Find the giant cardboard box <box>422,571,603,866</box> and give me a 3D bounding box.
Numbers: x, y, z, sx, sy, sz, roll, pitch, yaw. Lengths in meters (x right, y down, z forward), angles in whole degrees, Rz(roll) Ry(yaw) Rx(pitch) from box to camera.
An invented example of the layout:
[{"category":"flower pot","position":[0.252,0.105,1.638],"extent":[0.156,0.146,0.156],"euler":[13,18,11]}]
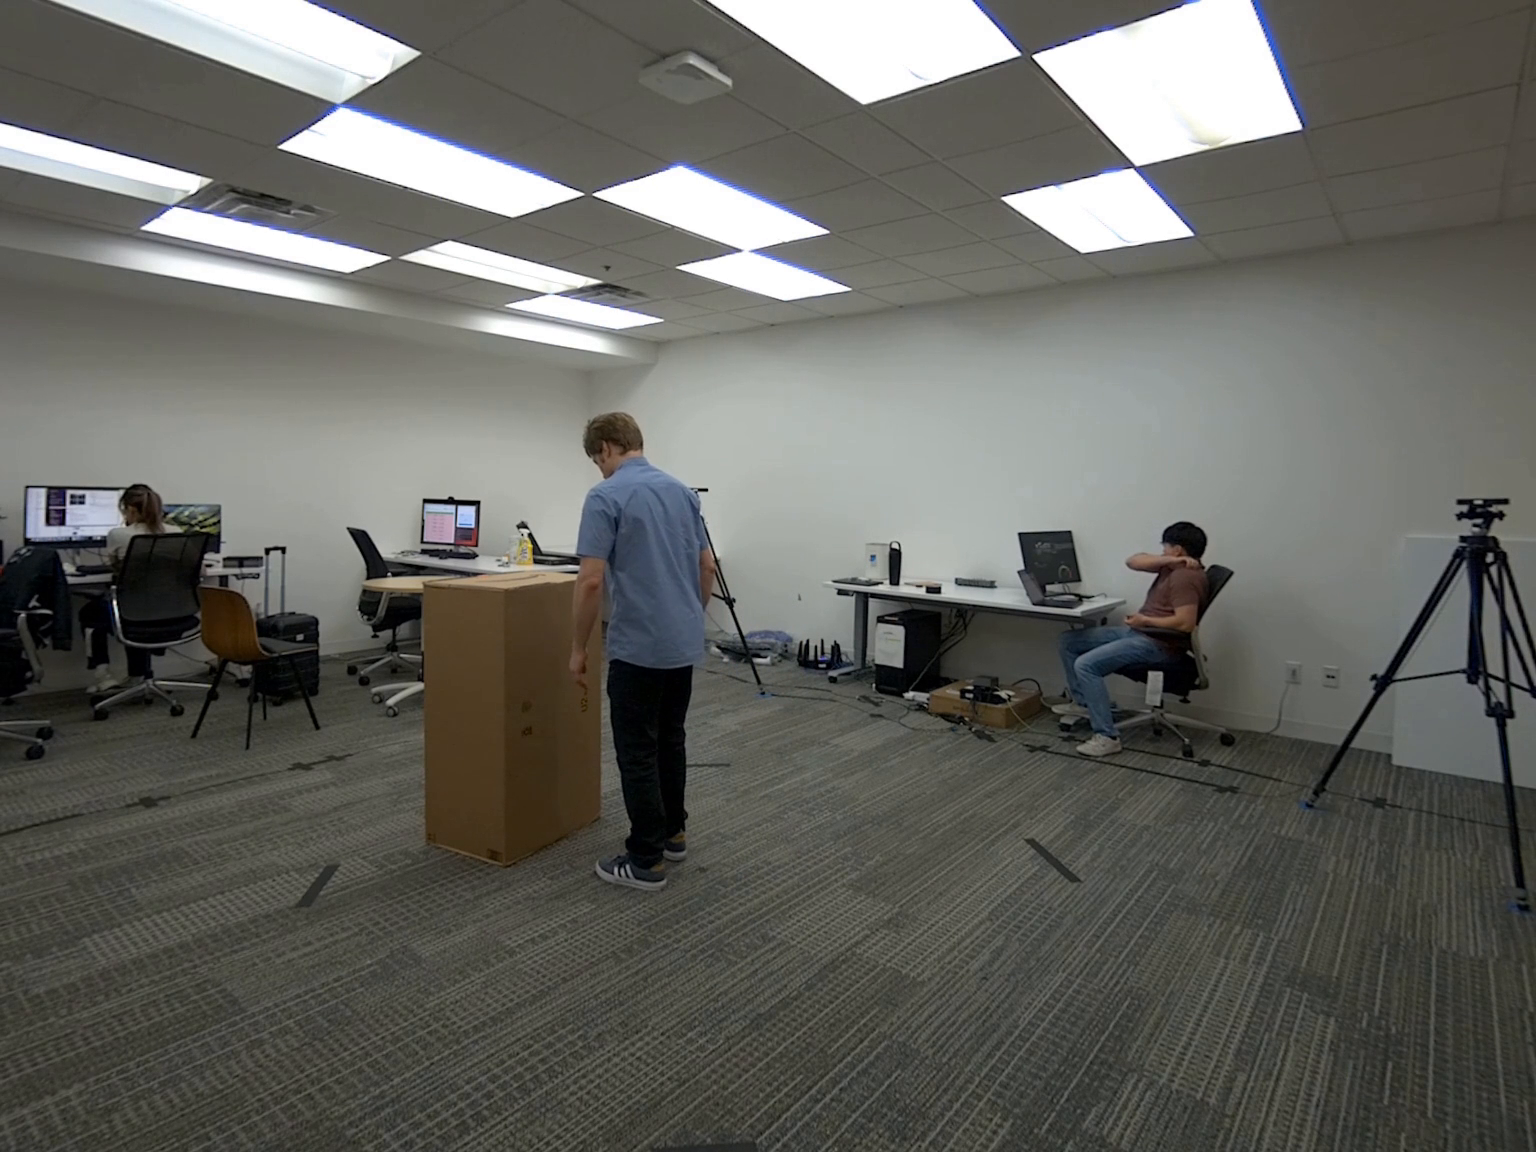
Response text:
[{"category":"giant cardboard box","position":[-1.030,0.518,3.418],"extent":[0.438,1.023,0.563],"euler":[2,4,29]}]
